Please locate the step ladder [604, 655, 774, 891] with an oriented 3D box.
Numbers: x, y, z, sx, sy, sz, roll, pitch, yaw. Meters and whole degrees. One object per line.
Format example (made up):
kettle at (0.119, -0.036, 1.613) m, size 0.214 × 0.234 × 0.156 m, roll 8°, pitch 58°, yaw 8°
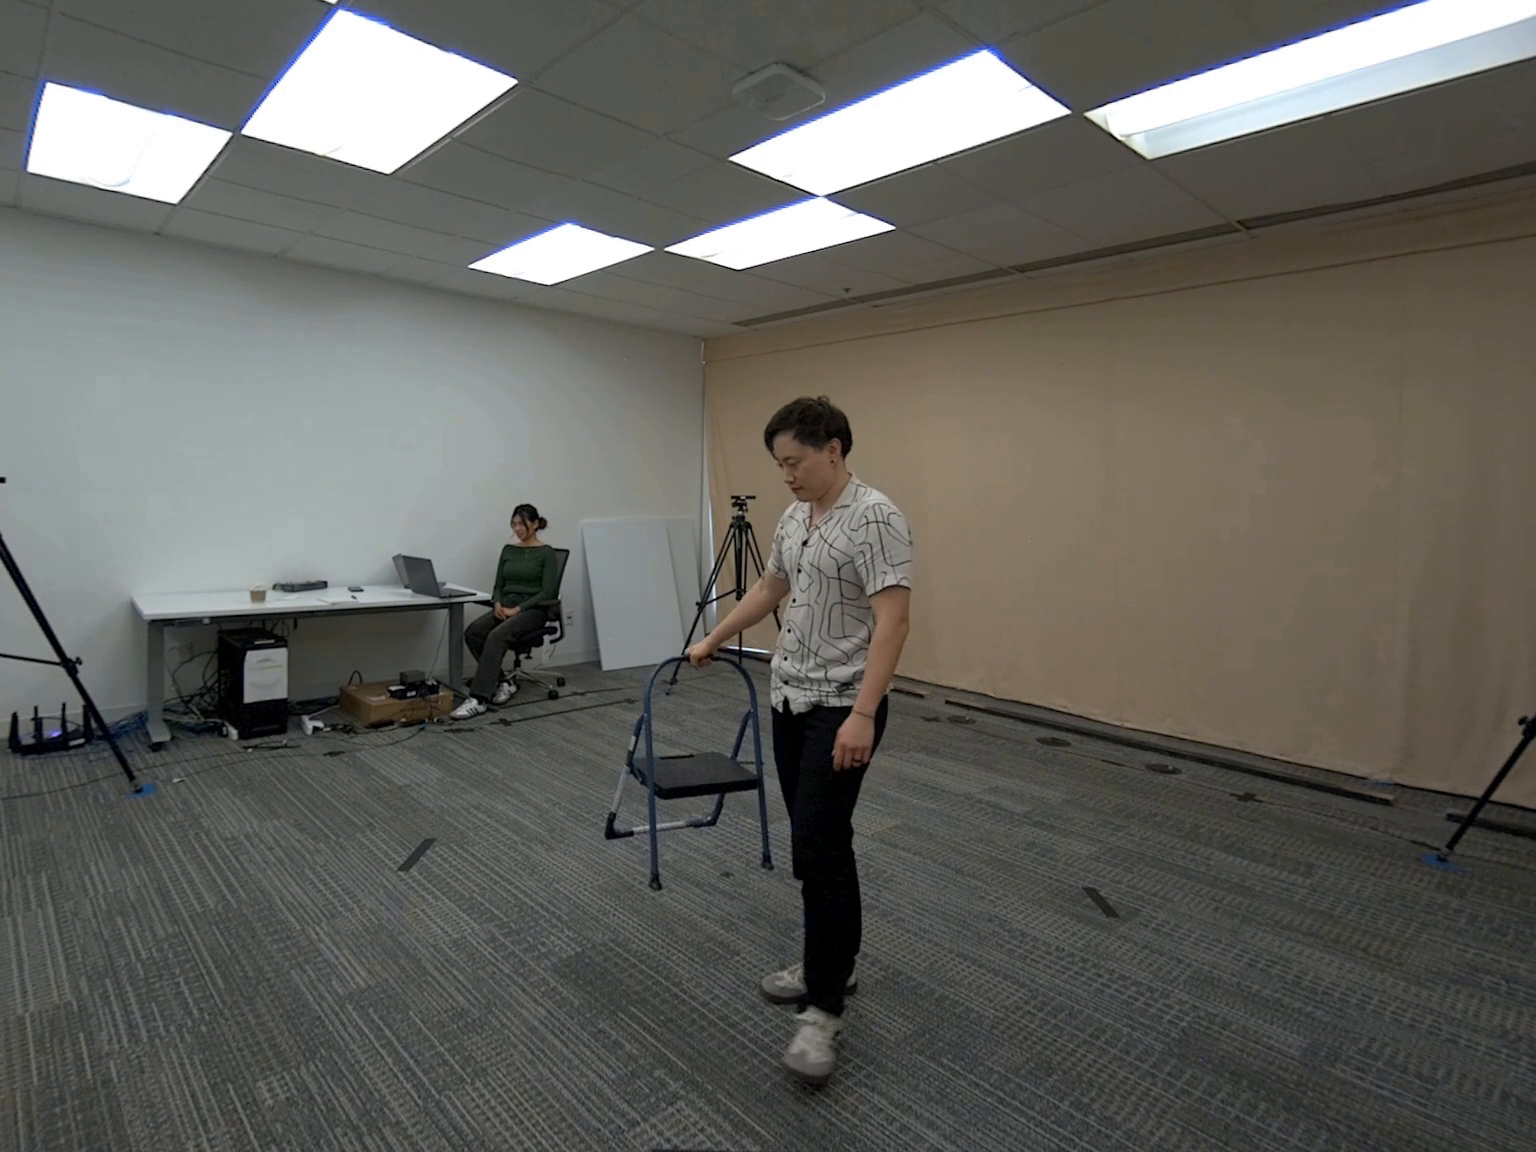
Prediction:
step ladder at (-0.203, 0.565, 2.579) m, size 0.420 × 0.604 × 0.359 m, roll 4°, pitch 6°, yaw -37°
